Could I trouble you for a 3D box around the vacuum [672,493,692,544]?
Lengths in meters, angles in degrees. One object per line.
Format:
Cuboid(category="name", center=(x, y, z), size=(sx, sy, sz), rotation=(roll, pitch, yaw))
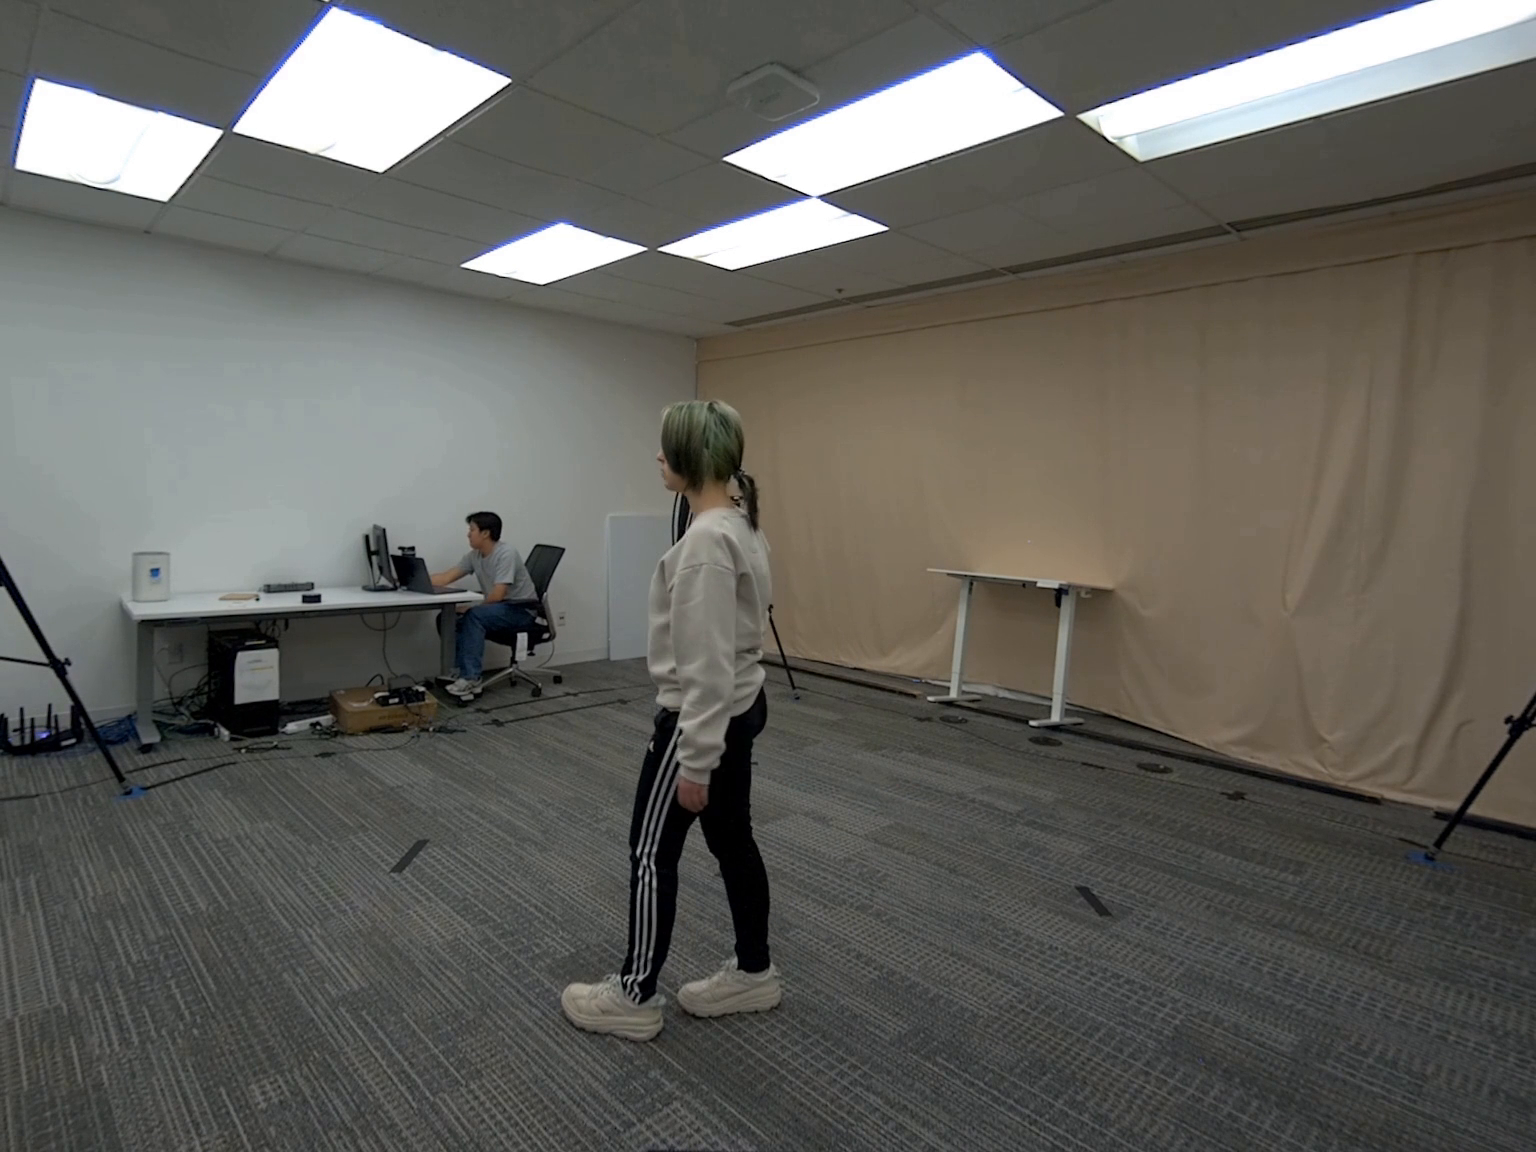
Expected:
Cuboid(category="vacuum", center=(-0.256, 0.065, 2.578), size=(0.143, 1.040, 0.256), rotation=(-1, 12, -8))
